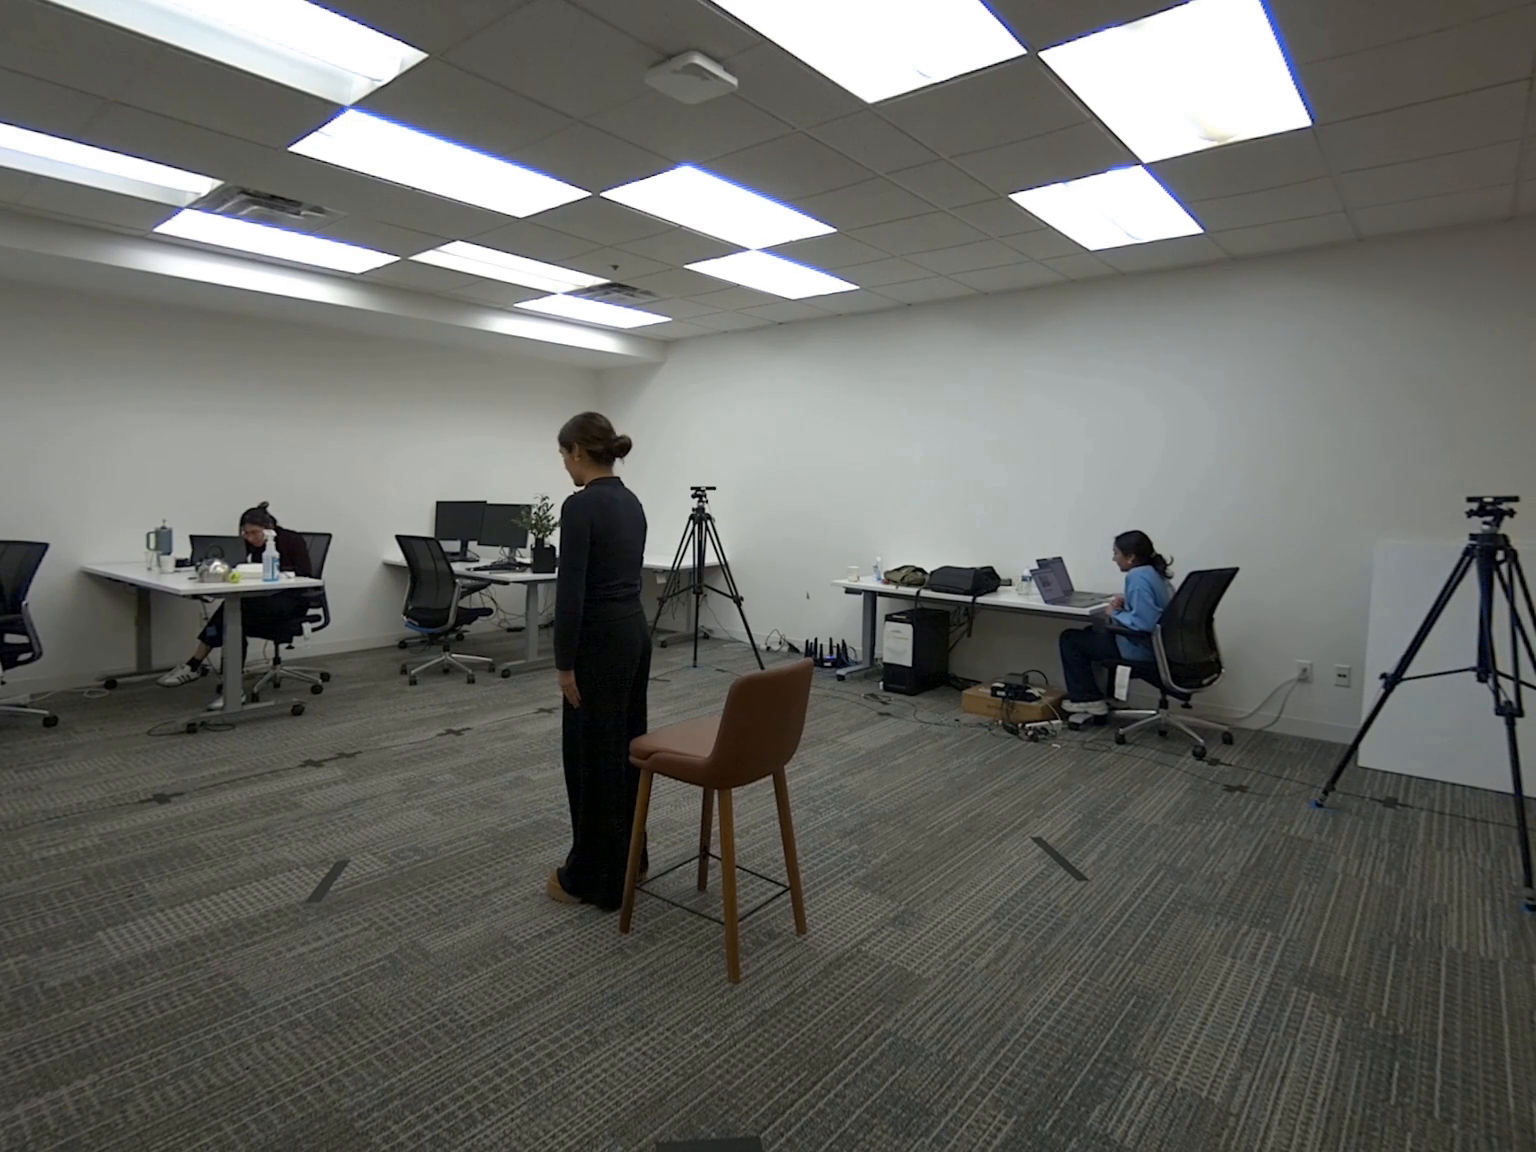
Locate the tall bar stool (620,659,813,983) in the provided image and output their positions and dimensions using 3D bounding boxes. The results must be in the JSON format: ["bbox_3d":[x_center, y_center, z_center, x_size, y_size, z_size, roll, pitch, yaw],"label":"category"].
[{"bbox_3d":[-0.159,0.677,2.633,0.483,0.886,0.443,6,6,37],"label":"tall bar stool"}]
